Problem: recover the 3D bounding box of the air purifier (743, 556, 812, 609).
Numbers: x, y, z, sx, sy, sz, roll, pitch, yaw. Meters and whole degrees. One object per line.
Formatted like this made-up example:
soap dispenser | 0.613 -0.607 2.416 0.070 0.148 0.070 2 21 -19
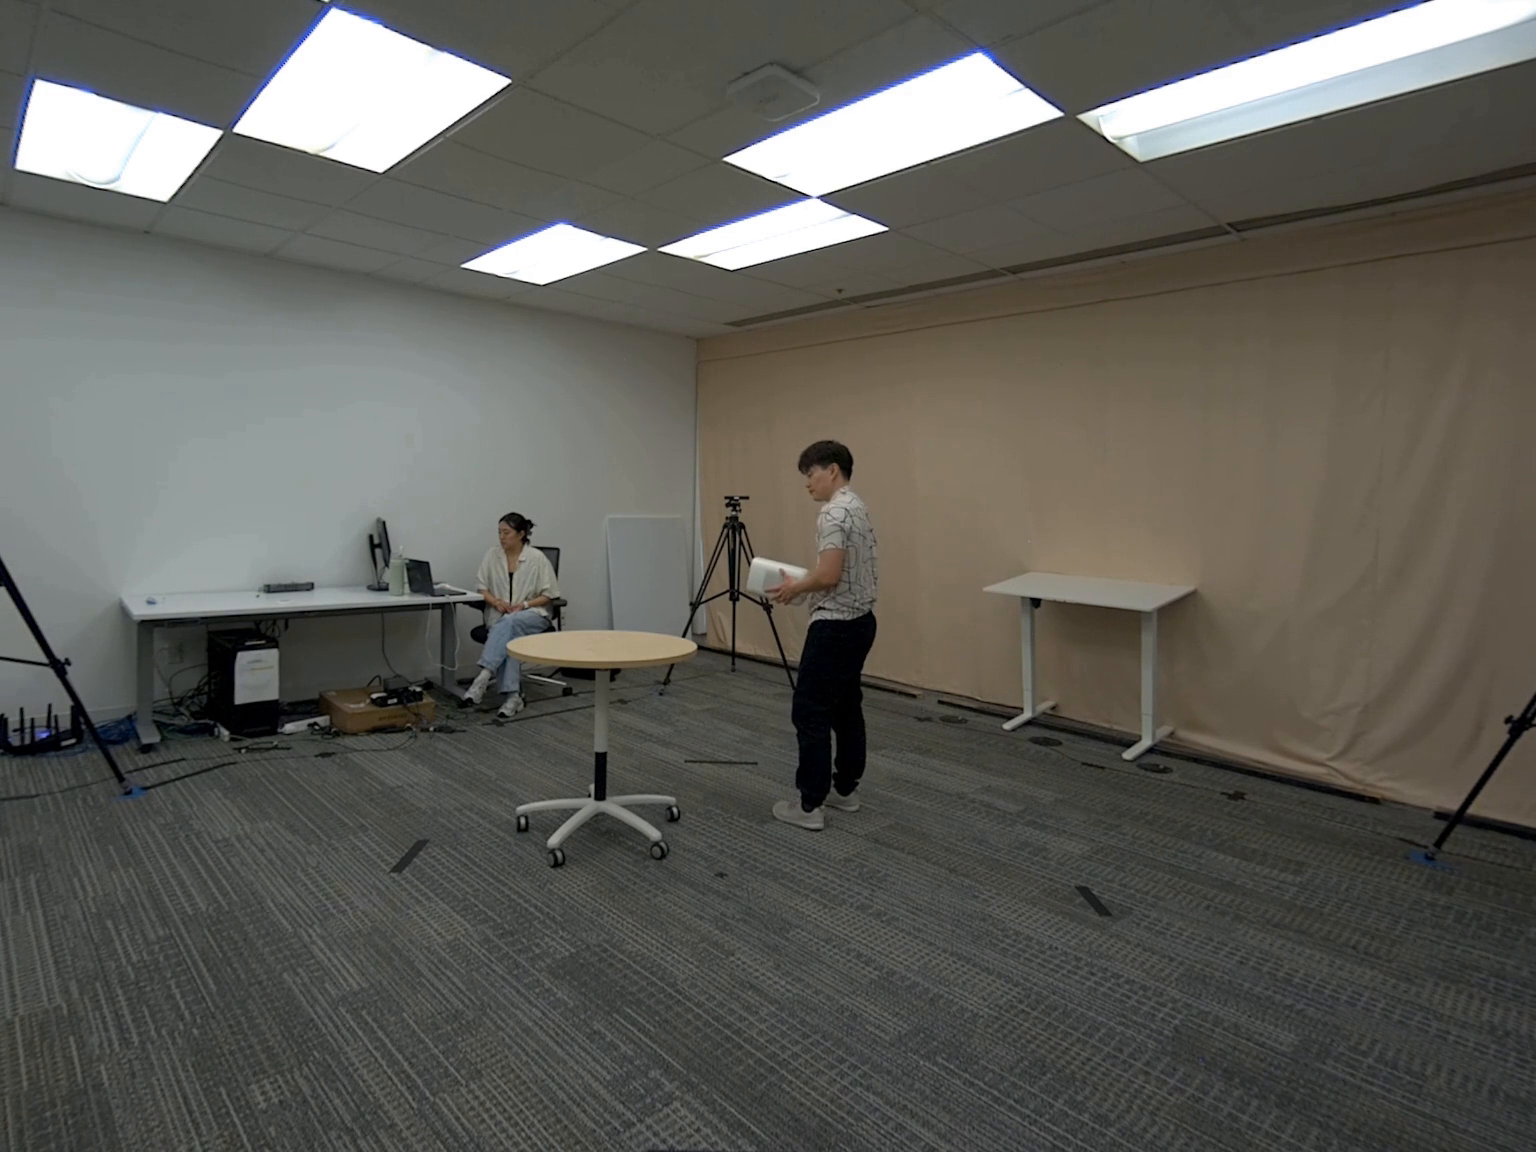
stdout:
air purifier | 0.052 0.024 3.859 0.269 0.171 0.169 13 4 14
